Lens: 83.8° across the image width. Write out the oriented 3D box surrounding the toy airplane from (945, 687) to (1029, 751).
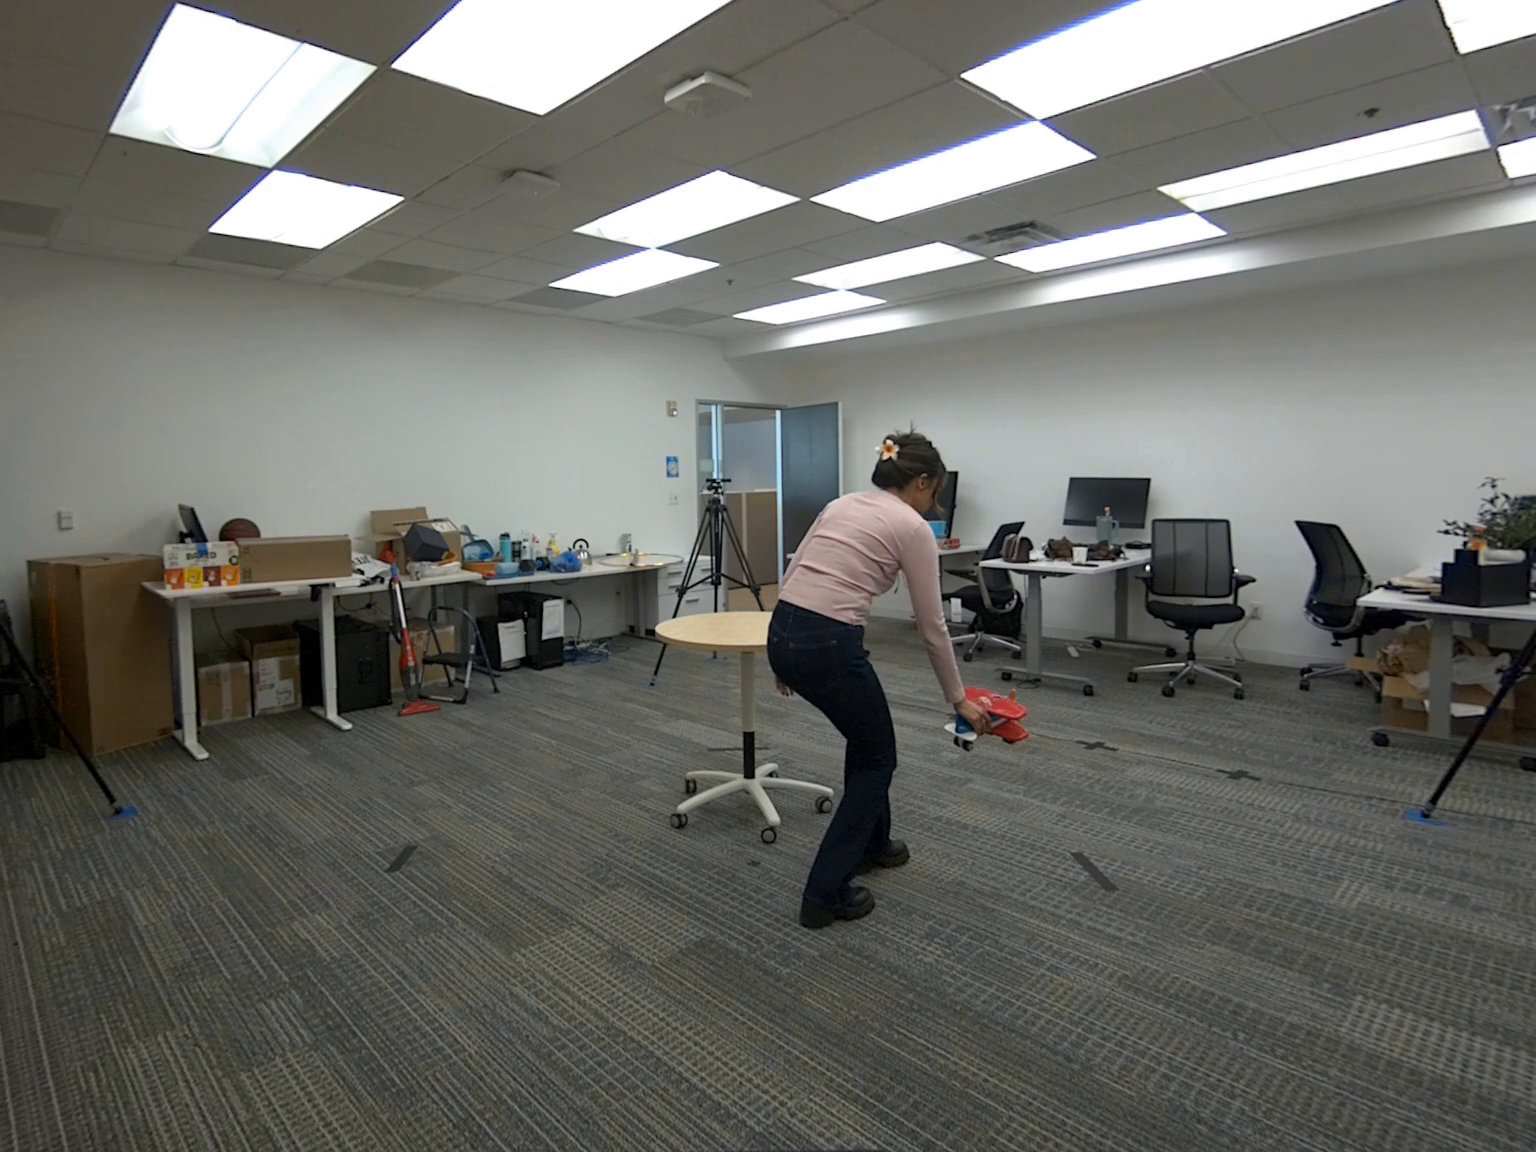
[{"bbox_3d":[0.724,0.481,2.804,0.258,0.155,0.254,9,12,30],"label":"toy airplane"}]
